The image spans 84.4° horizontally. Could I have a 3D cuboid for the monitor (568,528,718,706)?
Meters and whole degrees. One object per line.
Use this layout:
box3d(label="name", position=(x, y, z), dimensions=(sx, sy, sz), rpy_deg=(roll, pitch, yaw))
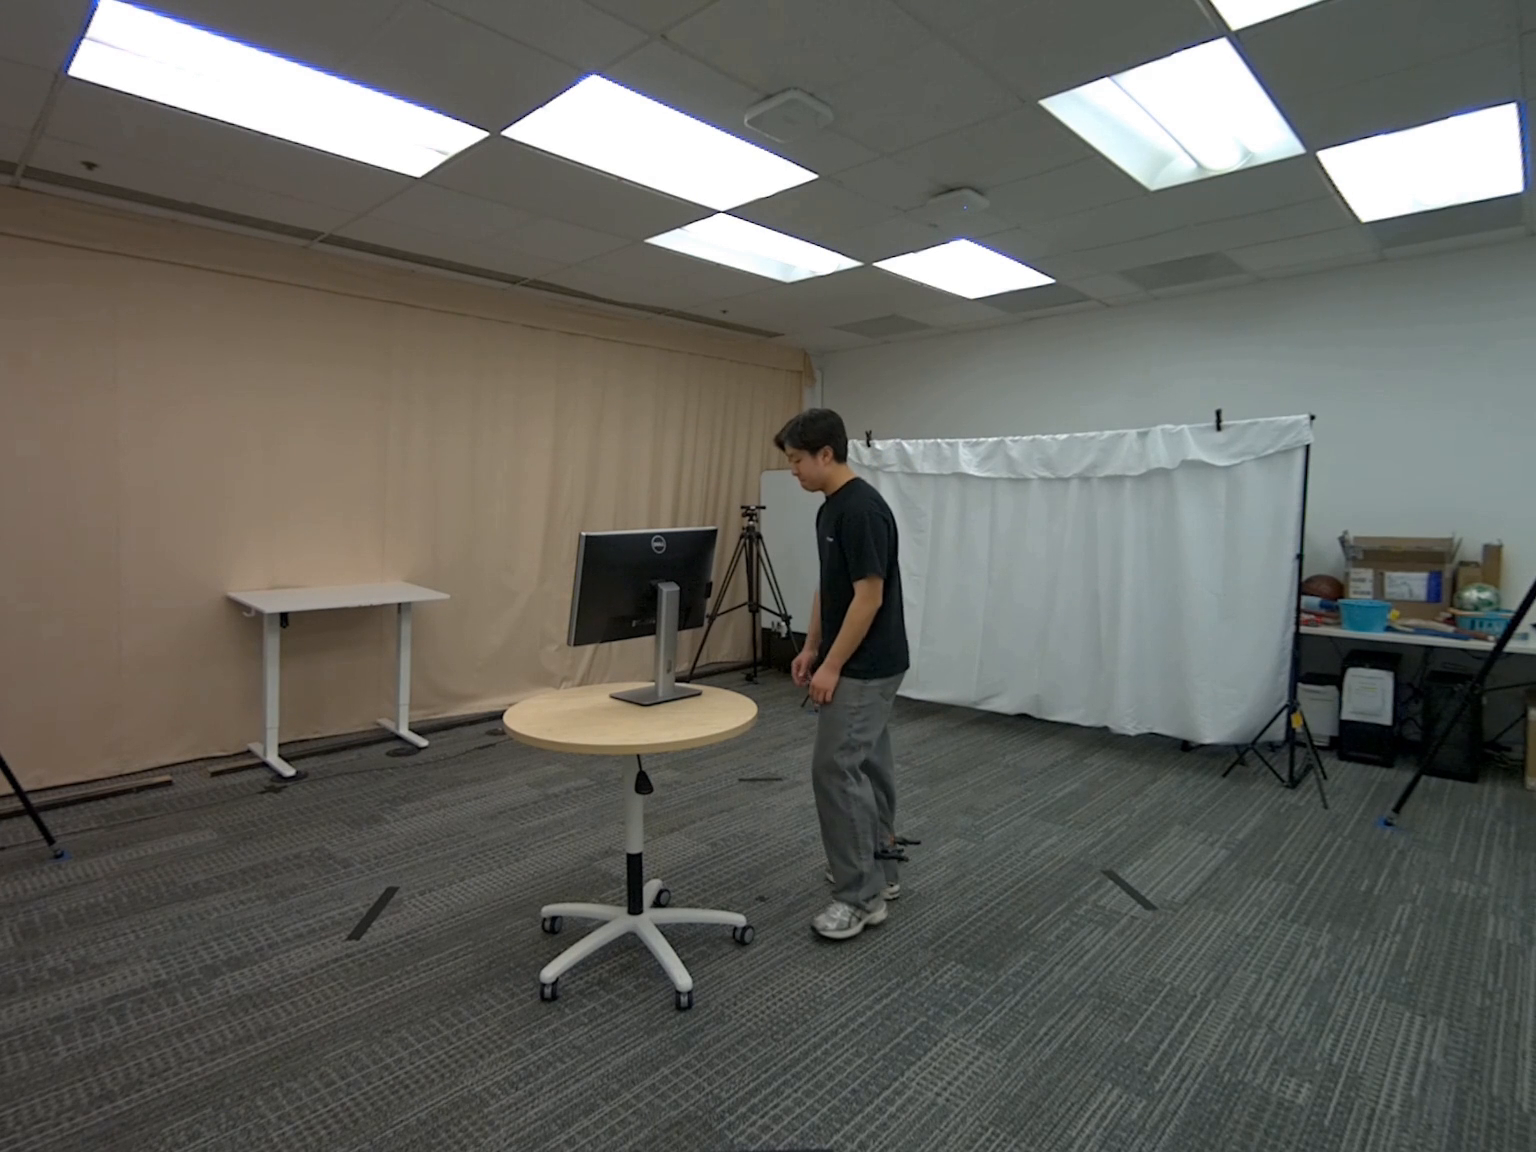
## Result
box3d(label="monitor", position=(-0.348, 0.129, 2.705), dimensions=(0.217, 0.551, 0.548), rpy_deg=(12, 11, 43))
